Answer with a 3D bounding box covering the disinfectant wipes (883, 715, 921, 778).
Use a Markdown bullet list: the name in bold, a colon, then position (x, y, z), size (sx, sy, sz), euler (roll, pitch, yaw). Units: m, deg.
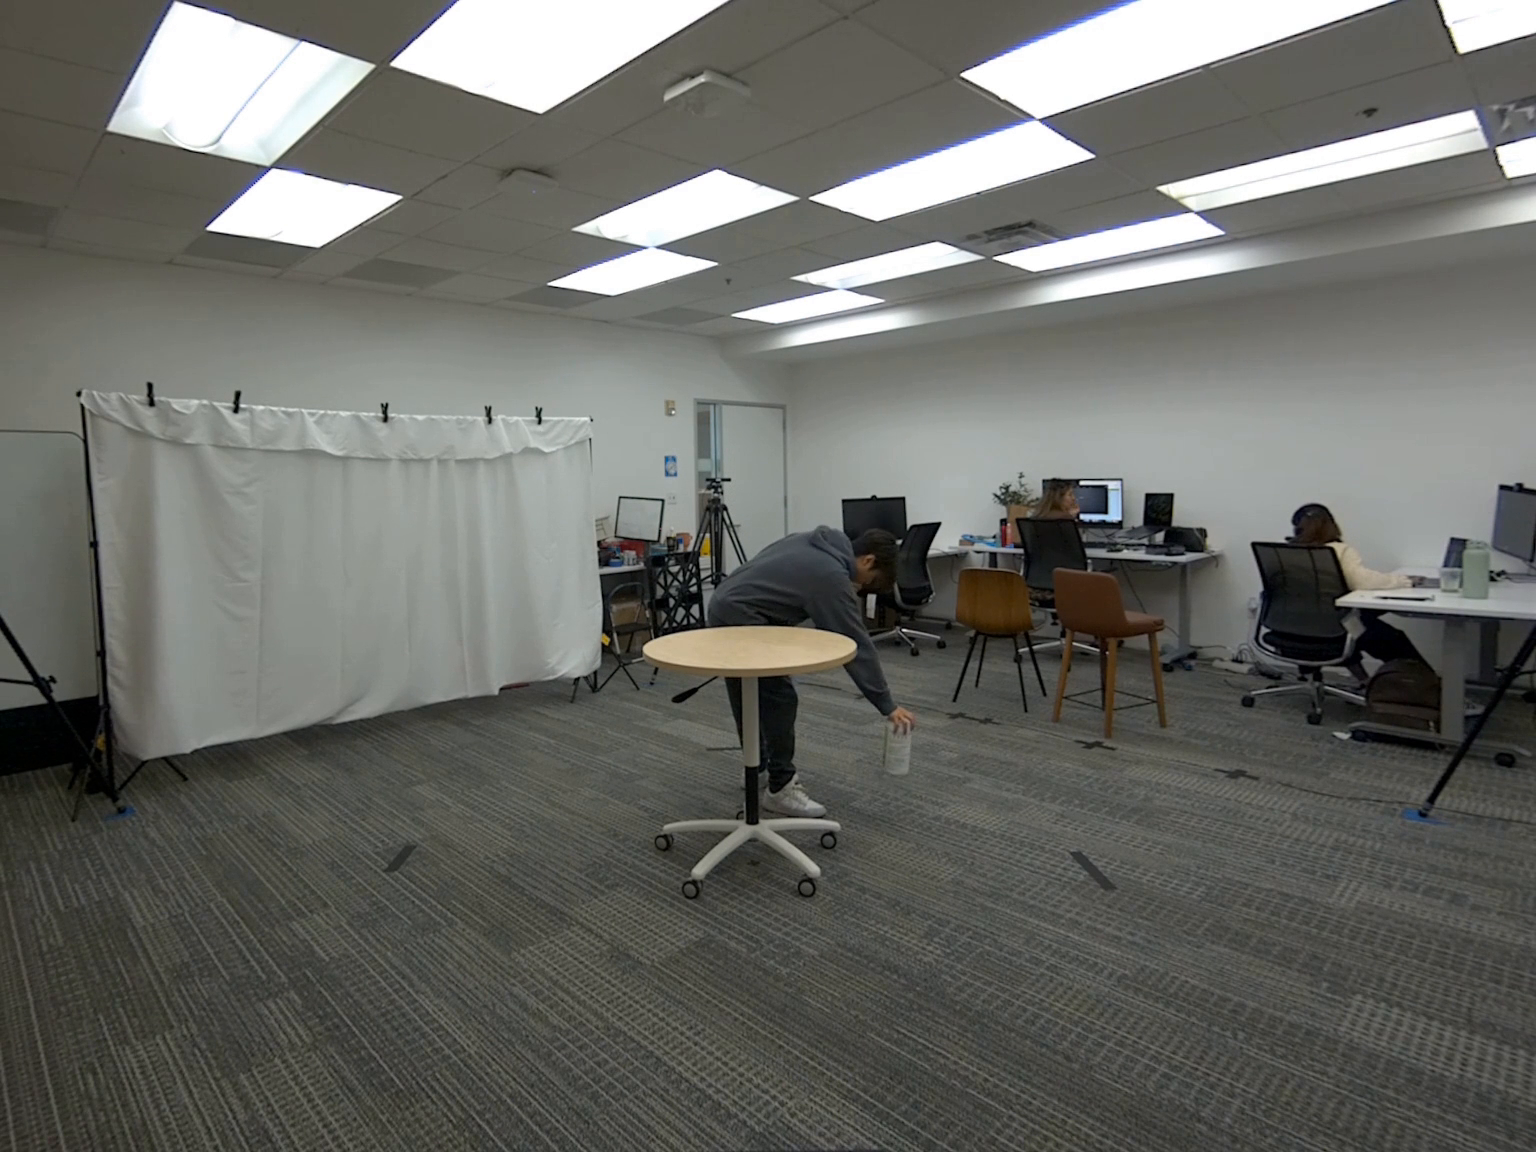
- **disinfectant wipes**: position (0.541, 0.689, 3.480), size (0.118, 0.216, 0.118), euler (0, 6, -2)
